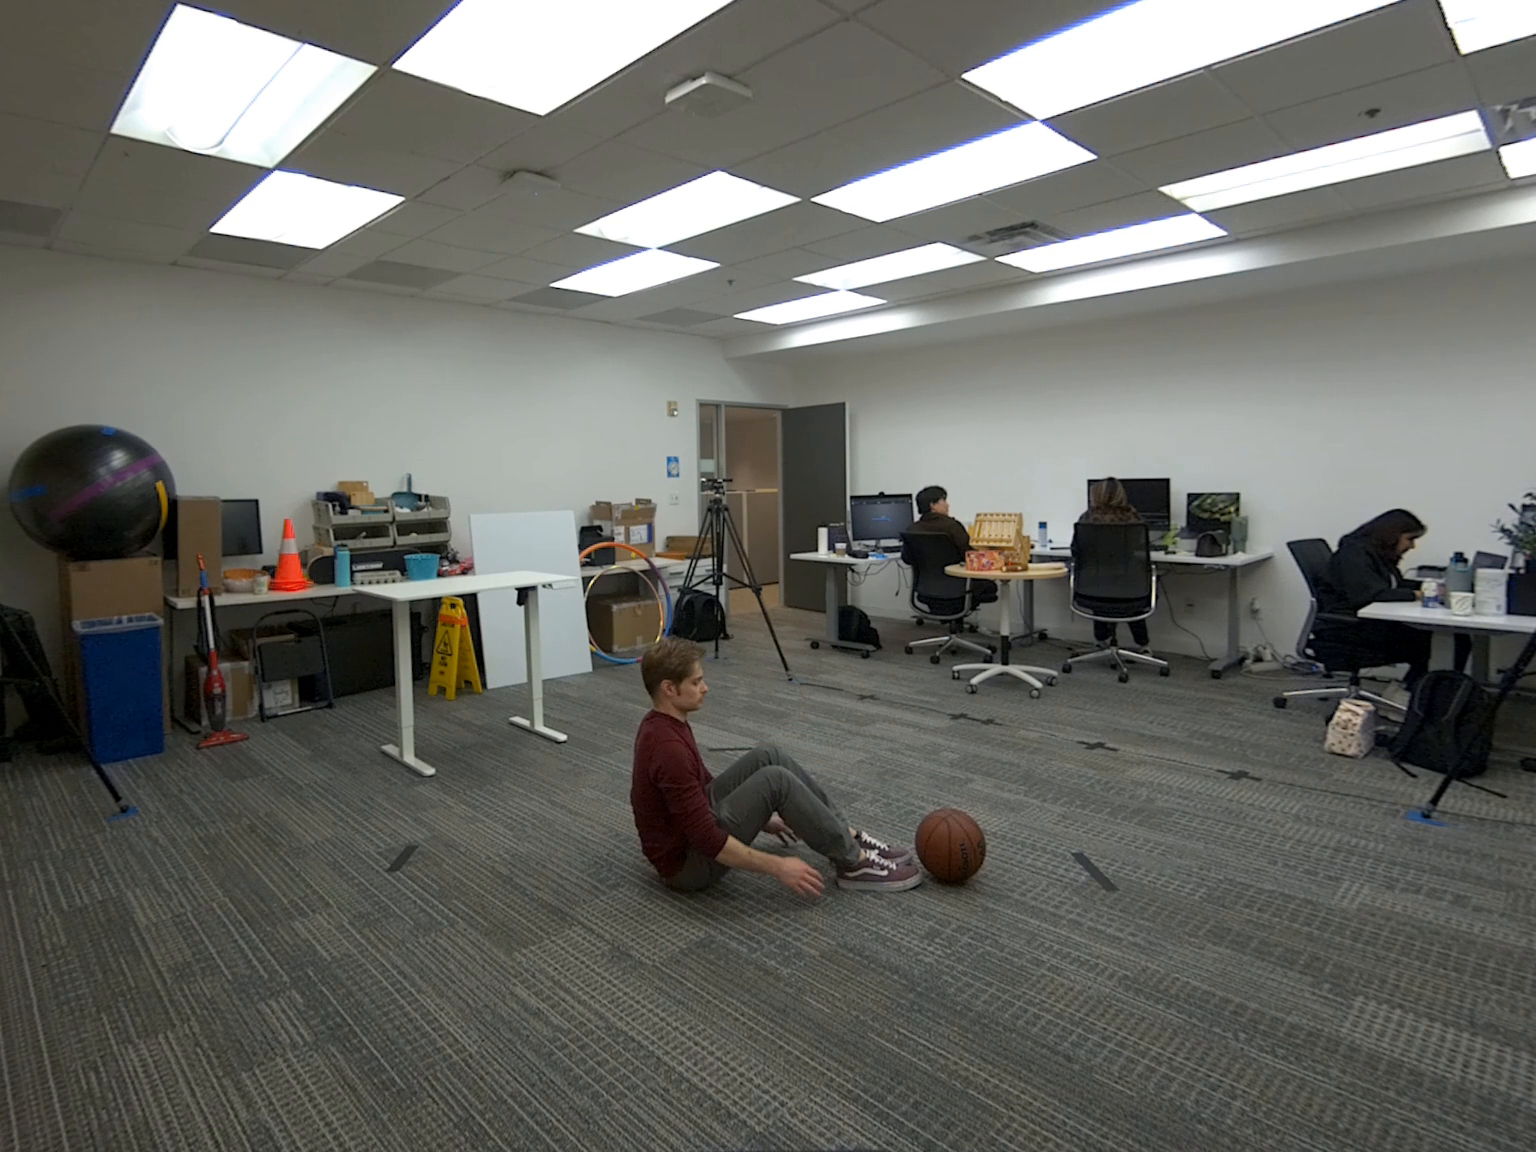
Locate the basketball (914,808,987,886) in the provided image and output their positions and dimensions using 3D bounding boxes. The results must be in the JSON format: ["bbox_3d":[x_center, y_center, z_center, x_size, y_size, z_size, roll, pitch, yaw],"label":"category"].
[{"bbox_3d":[0.631,0.925,2.953,0.236,0.235,0.237,-1,5,-2],"label":"basketball"}]
